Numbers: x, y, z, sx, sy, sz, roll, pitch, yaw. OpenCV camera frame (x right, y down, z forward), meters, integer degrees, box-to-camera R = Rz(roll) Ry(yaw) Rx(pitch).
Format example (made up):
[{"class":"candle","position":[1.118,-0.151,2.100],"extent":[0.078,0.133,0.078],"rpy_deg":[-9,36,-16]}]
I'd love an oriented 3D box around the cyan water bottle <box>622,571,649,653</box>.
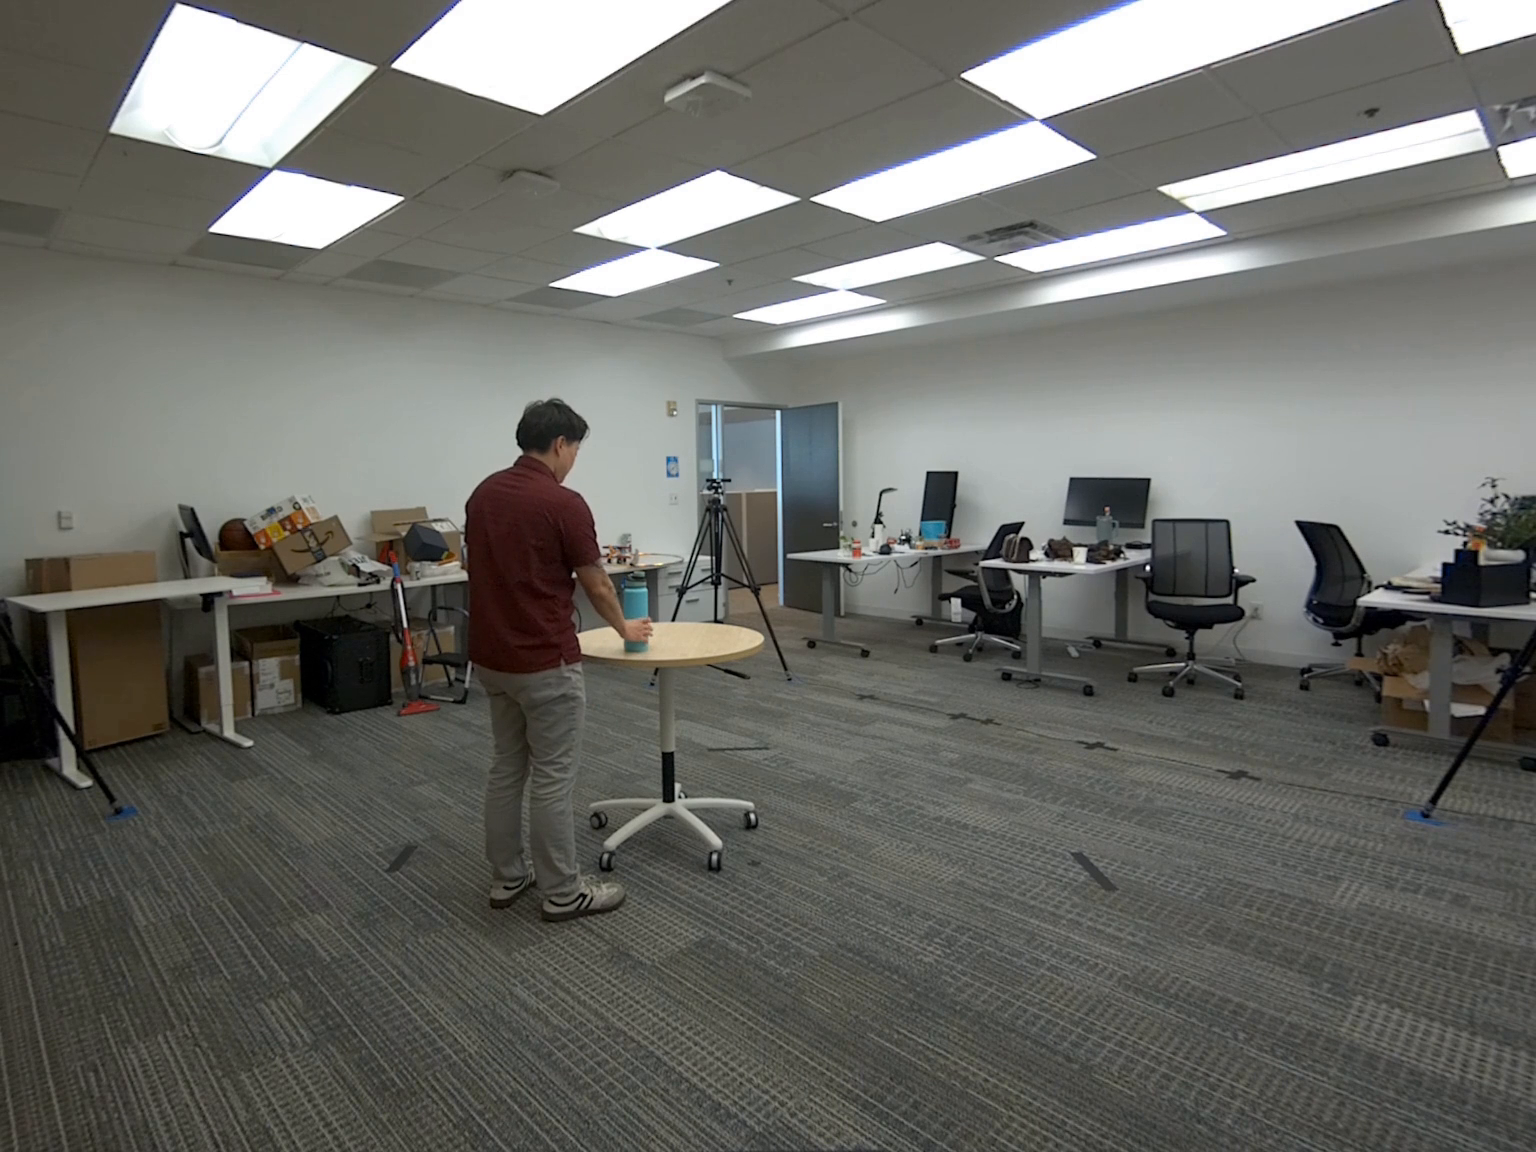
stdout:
[{"class":"cyan water bottle","position":[-0.483,0.125,3.108],"extent":[0.092,0.282,0.093],"rpy_deg":[0,4,-2]}]
